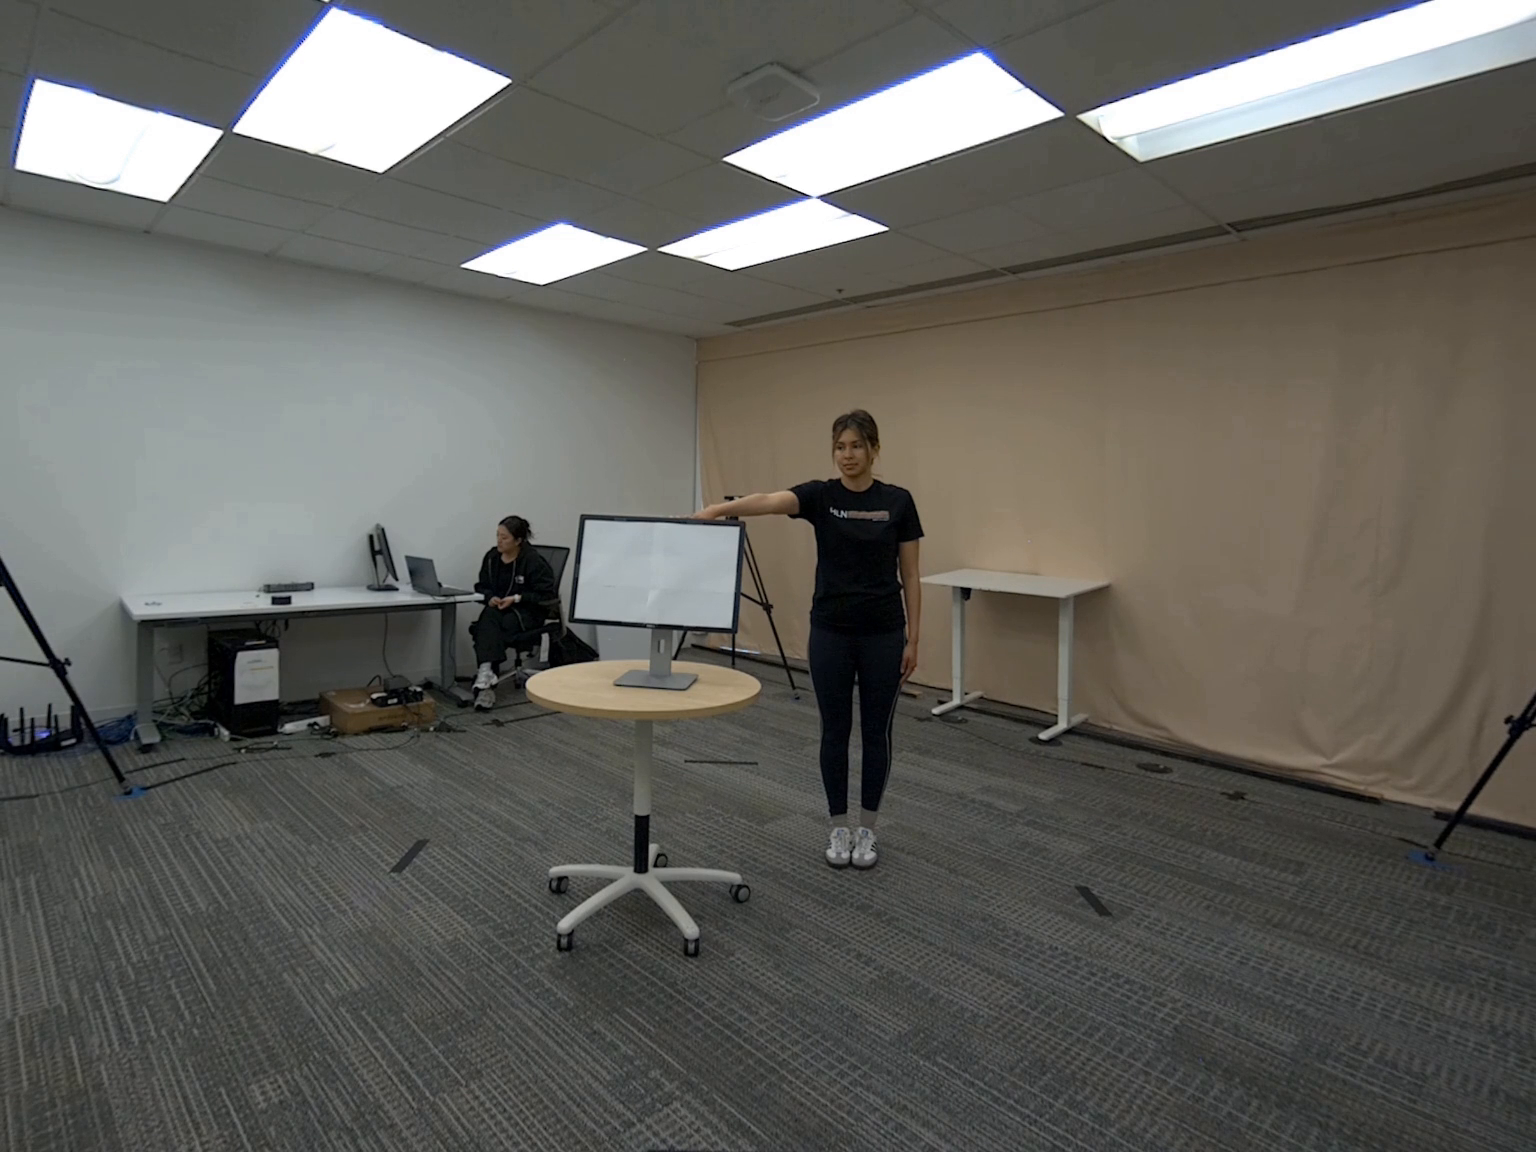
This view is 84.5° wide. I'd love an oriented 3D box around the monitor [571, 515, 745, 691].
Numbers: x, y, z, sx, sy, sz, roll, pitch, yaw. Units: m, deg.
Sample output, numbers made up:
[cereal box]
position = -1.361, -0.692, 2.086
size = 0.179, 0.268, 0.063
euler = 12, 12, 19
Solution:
[monitor]
position = -0.358, 0.089, 2.767
size = 0.543, 0.521, 0.186
euler = 3, 3, 8
